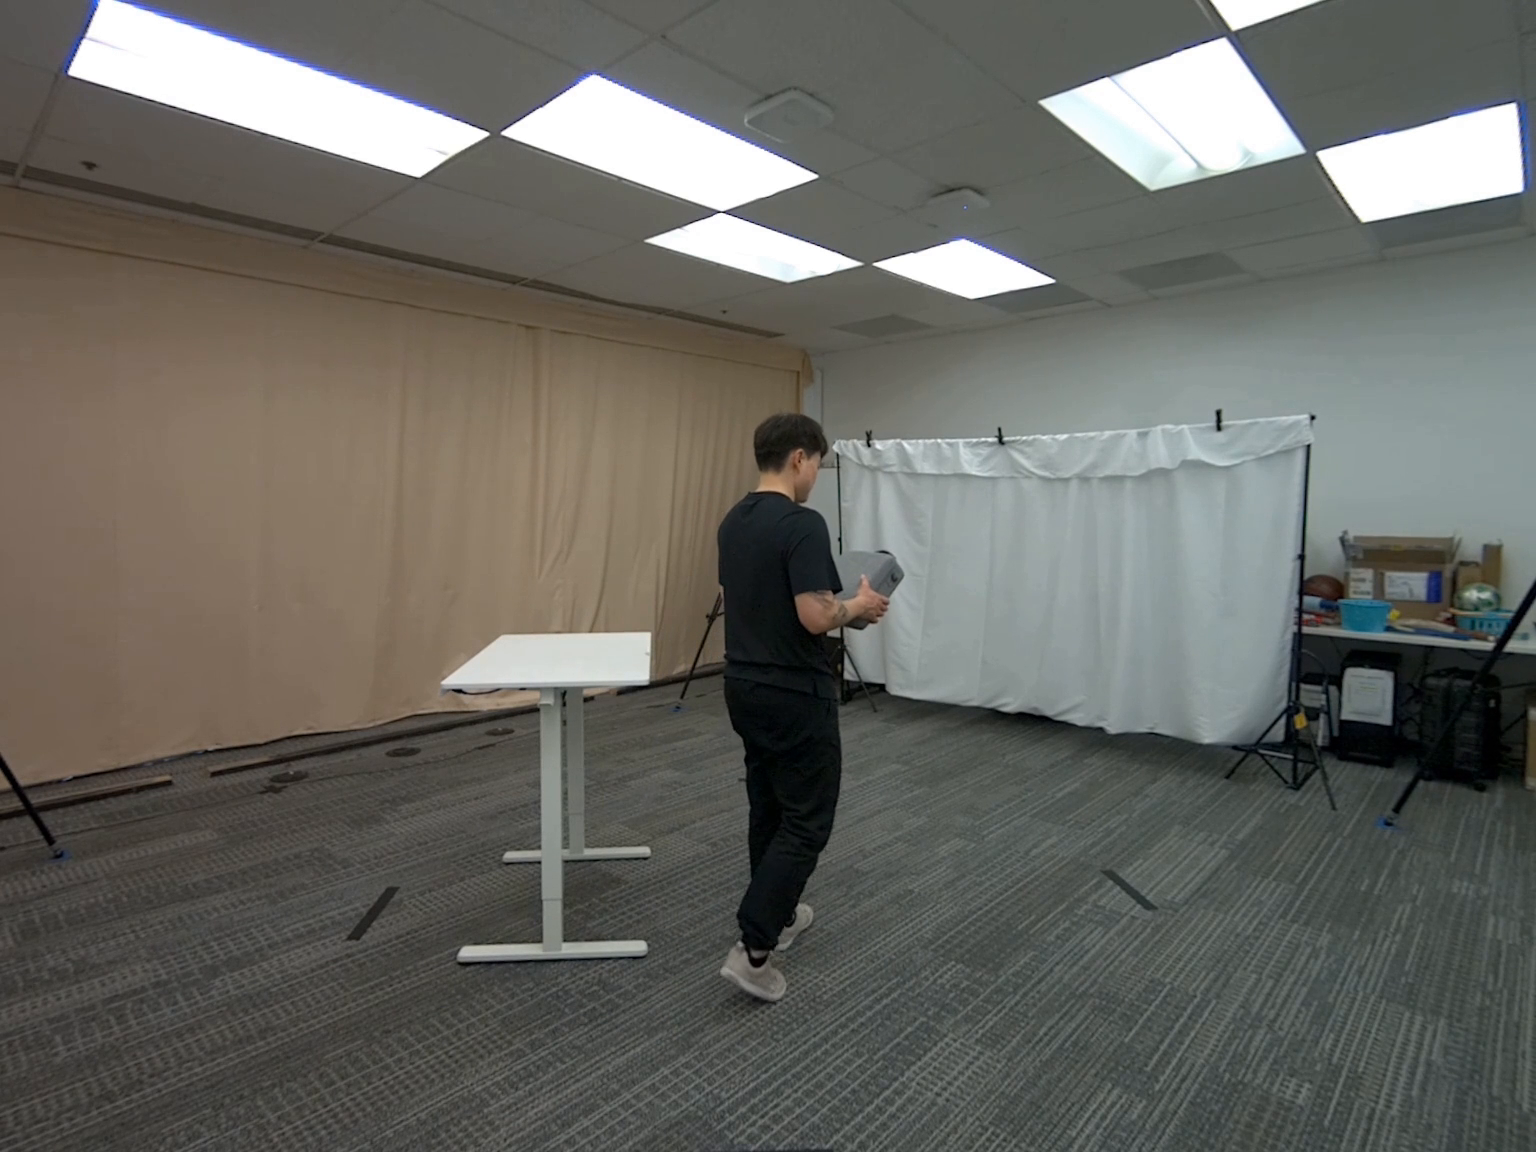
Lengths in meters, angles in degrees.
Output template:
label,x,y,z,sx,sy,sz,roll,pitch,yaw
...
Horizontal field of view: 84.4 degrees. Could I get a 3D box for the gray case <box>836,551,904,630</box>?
label,x,y,z,sx,sy,sz,roll,pitch,yaw
gray case,0.272,0.040,2.681,0.259,0.102,0.264,-48,25,-19
